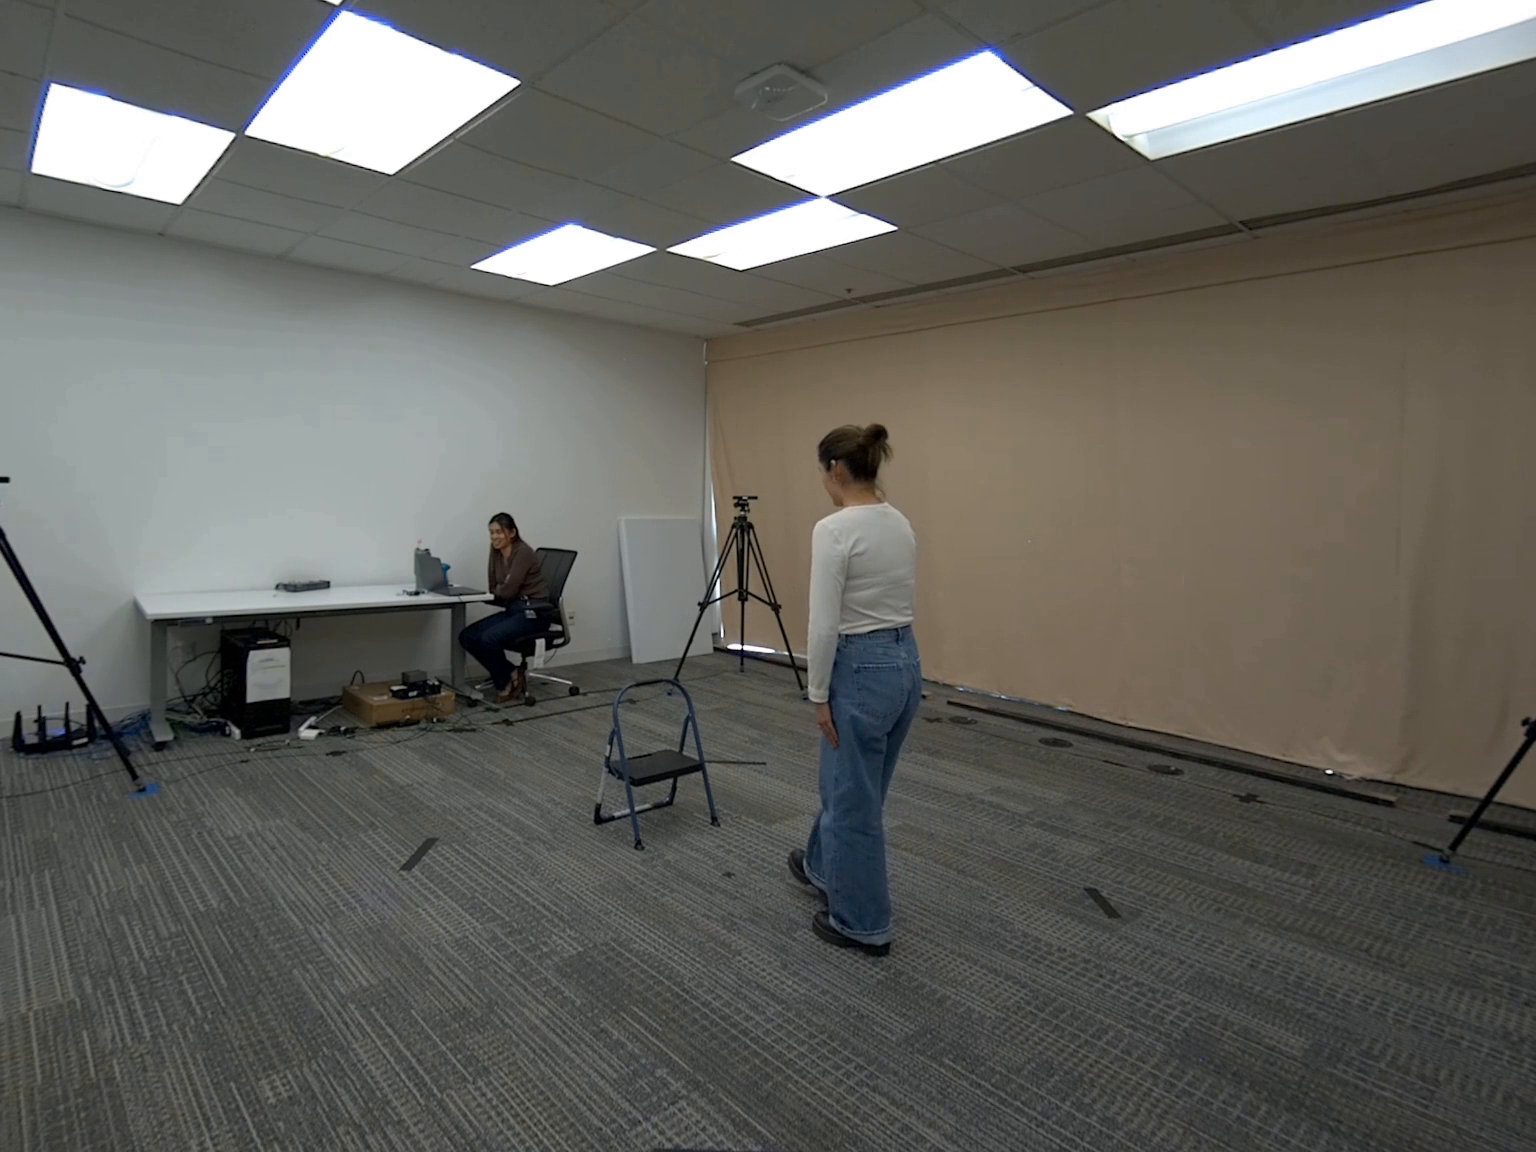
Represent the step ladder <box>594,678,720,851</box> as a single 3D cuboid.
[{"bbox_3d":[-0.472,0.753,3.552,0.421,0.605,0.358,-2,4,-44],"label":"step ladder"}]
